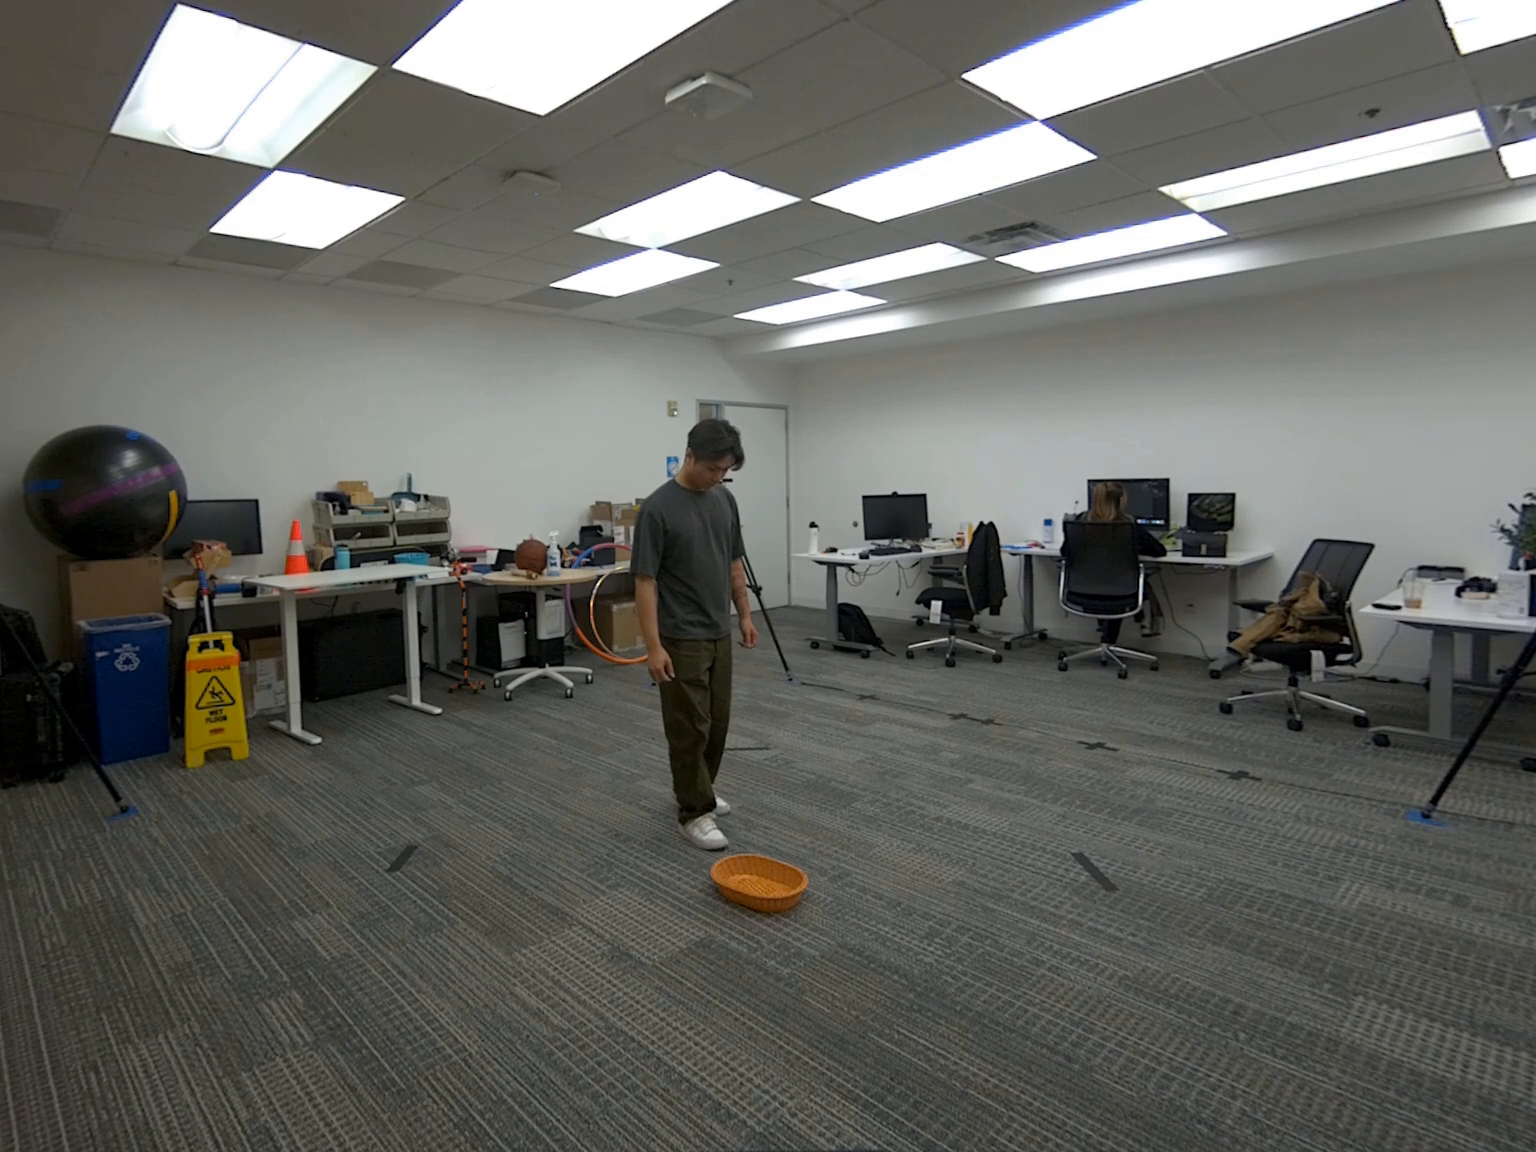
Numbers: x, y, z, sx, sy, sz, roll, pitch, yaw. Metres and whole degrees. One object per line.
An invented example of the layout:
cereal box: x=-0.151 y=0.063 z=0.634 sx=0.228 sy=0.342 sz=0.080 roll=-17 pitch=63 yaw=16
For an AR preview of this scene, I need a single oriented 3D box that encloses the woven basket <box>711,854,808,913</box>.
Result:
woven basket: x=-0.031 y=1.033 z=2.868 sx=0.361 sy=0.073 sz=0.246 roll=4 pitch=8 yaw=39
